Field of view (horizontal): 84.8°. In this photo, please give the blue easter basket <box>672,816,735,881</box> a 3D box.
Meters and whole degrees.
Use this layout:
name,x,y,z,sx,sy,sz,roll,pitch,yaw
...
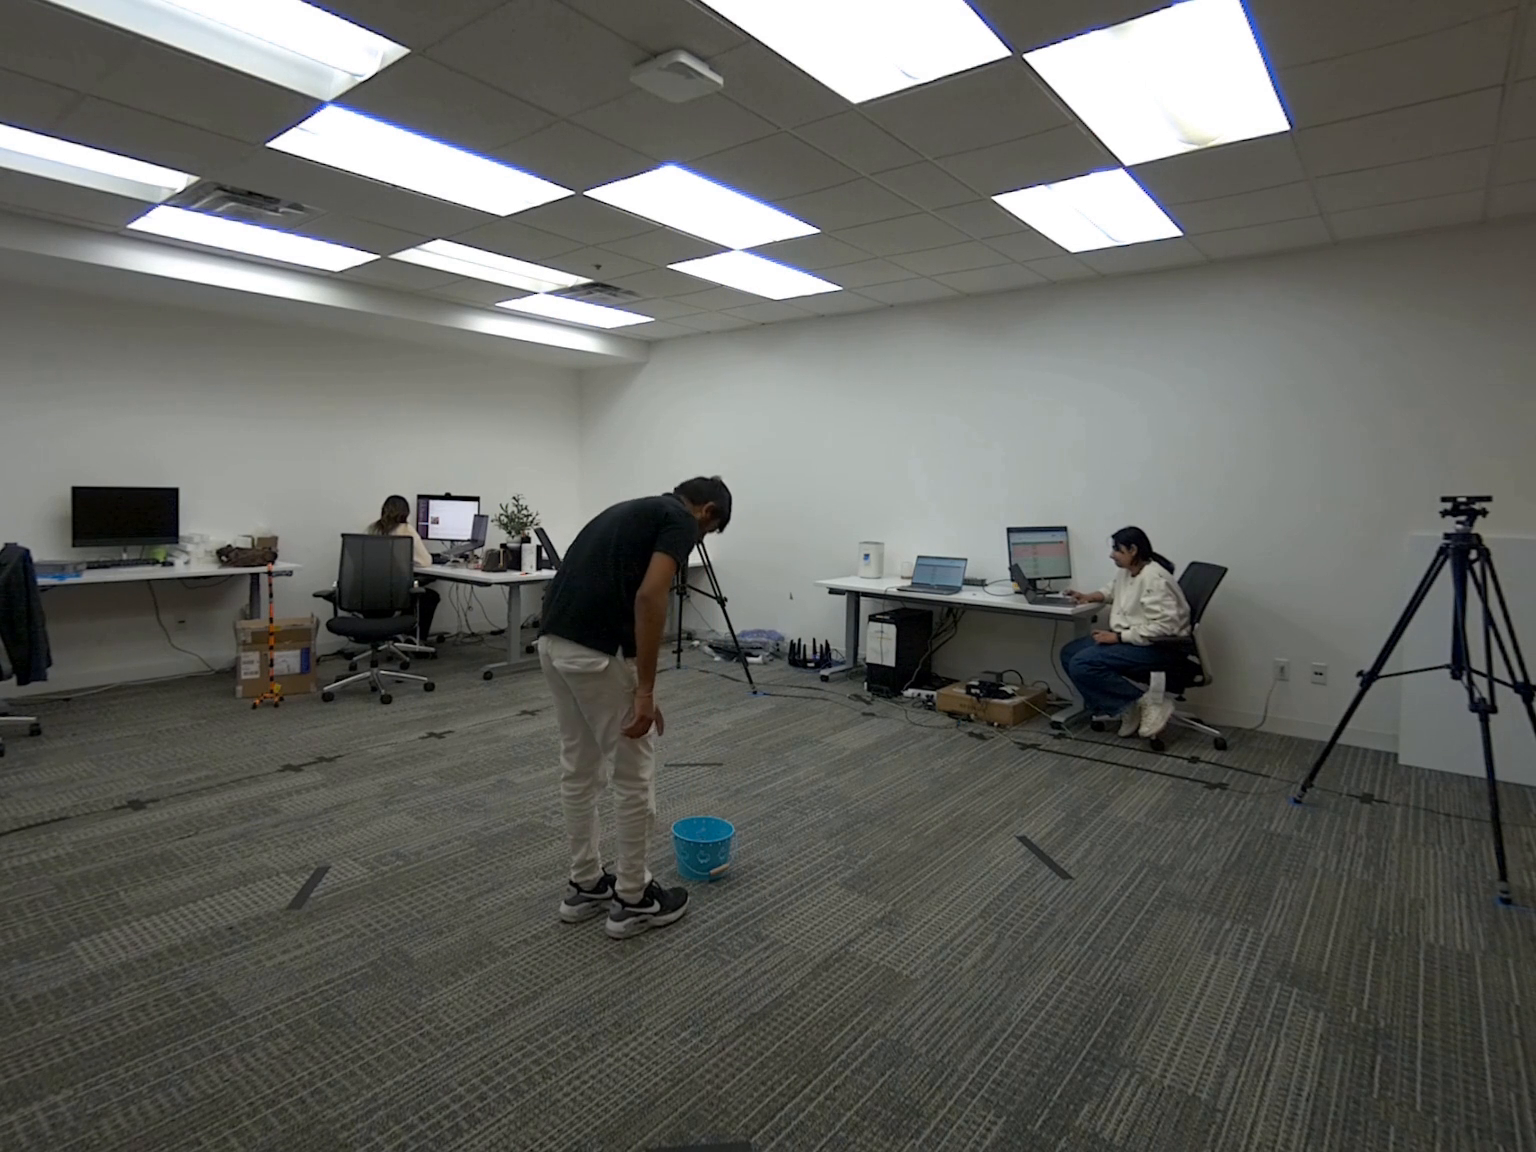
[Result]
name,x,y,z,sx,sy,sz,roll,pitch,yaw
blue easter basket,-0.248,0.985,3.091,0.243,0.155,0.245,1,4,-2
